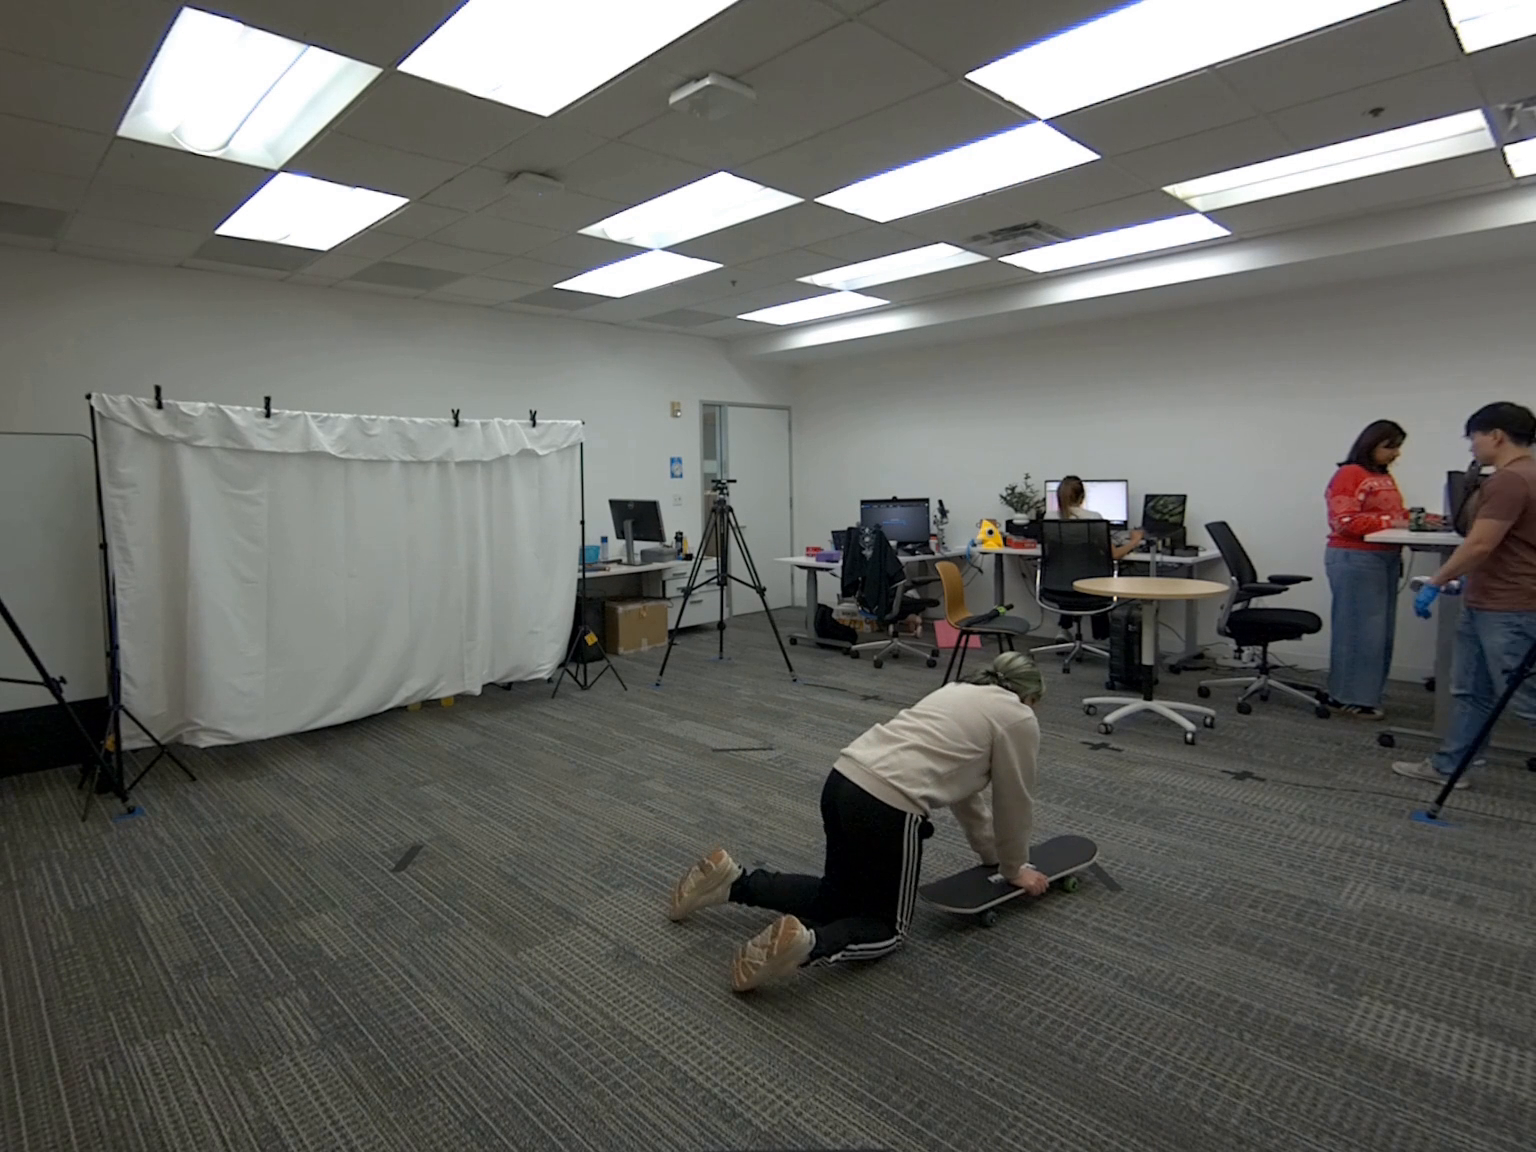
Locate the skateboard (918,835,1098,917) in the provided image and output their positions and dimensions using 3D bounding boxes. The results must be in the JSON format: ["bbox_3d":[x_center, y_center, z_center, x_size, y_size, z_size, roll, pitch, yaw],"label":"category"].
[{"bbox_3d":[0.802,1.008,2.812,0.767,0.110,0.199,-6,7,-33],"label":"skateboard"}]
